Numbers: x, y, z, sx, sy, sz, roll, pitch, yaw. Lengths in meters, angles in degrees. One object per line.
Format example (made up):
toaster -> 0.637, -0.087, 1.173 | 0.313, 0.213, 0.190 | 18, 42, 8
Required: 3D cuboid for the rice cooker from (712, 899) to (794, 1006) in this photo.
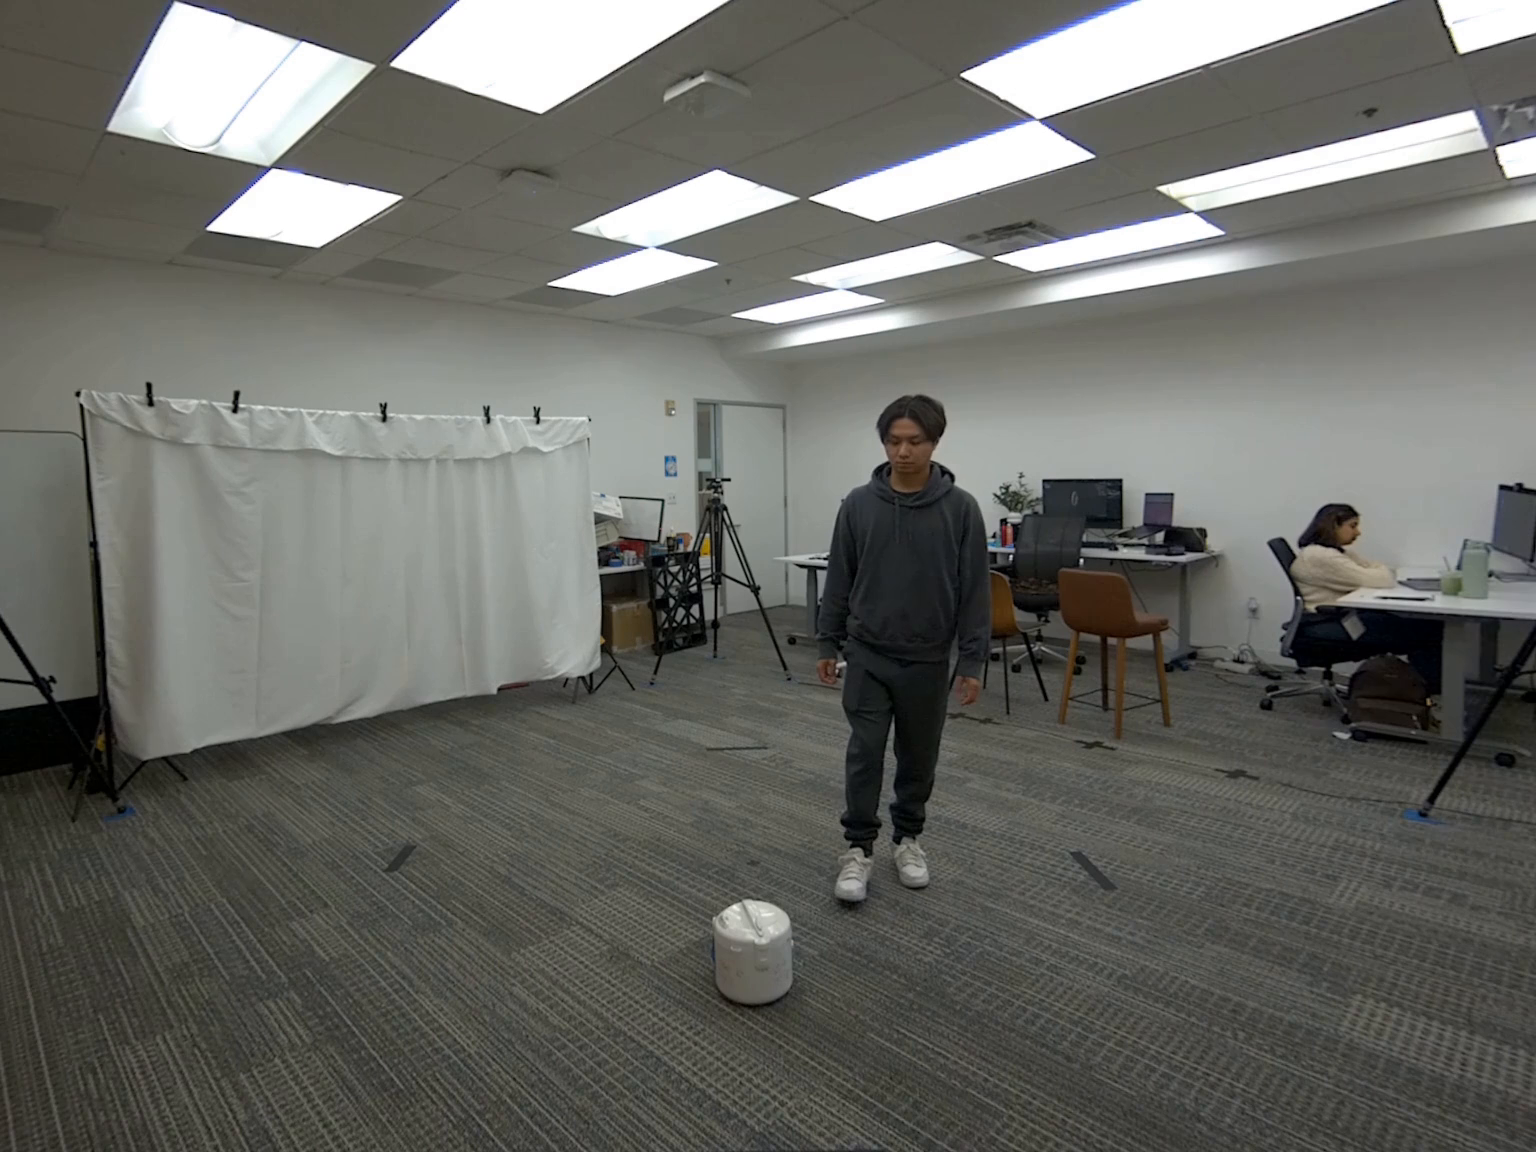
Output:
rice cooker -> -0.031, 1.016, 2.341 | 0.215, 0.232, 0.224 | -4, 6, -14
